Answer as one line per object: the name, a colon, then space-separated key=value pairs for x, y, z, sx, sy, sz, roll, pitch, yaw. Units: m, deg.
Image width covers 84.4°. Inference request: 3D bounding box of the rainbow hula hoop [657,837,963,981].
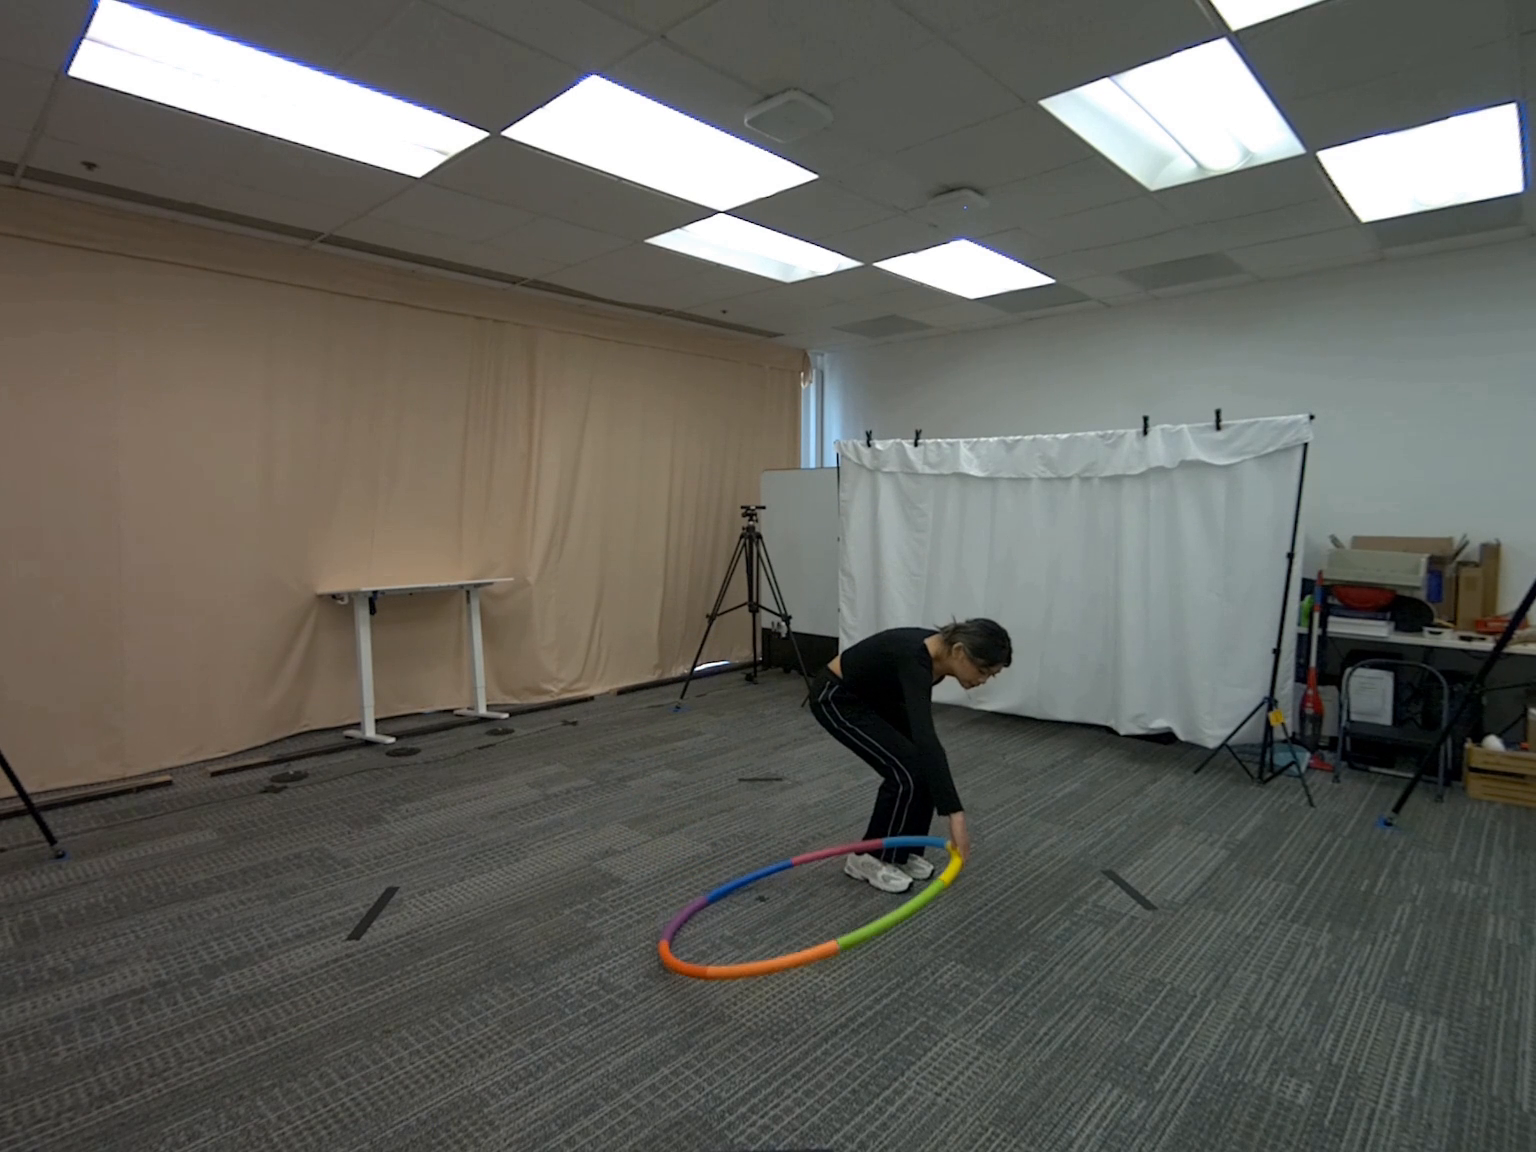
rainbow hula hoop: x=0.127 y=0.989 z=2.642 sx=0.976 sy=0.036 sz=0.976 roll=-17 pitch=-4 yaw=-4
